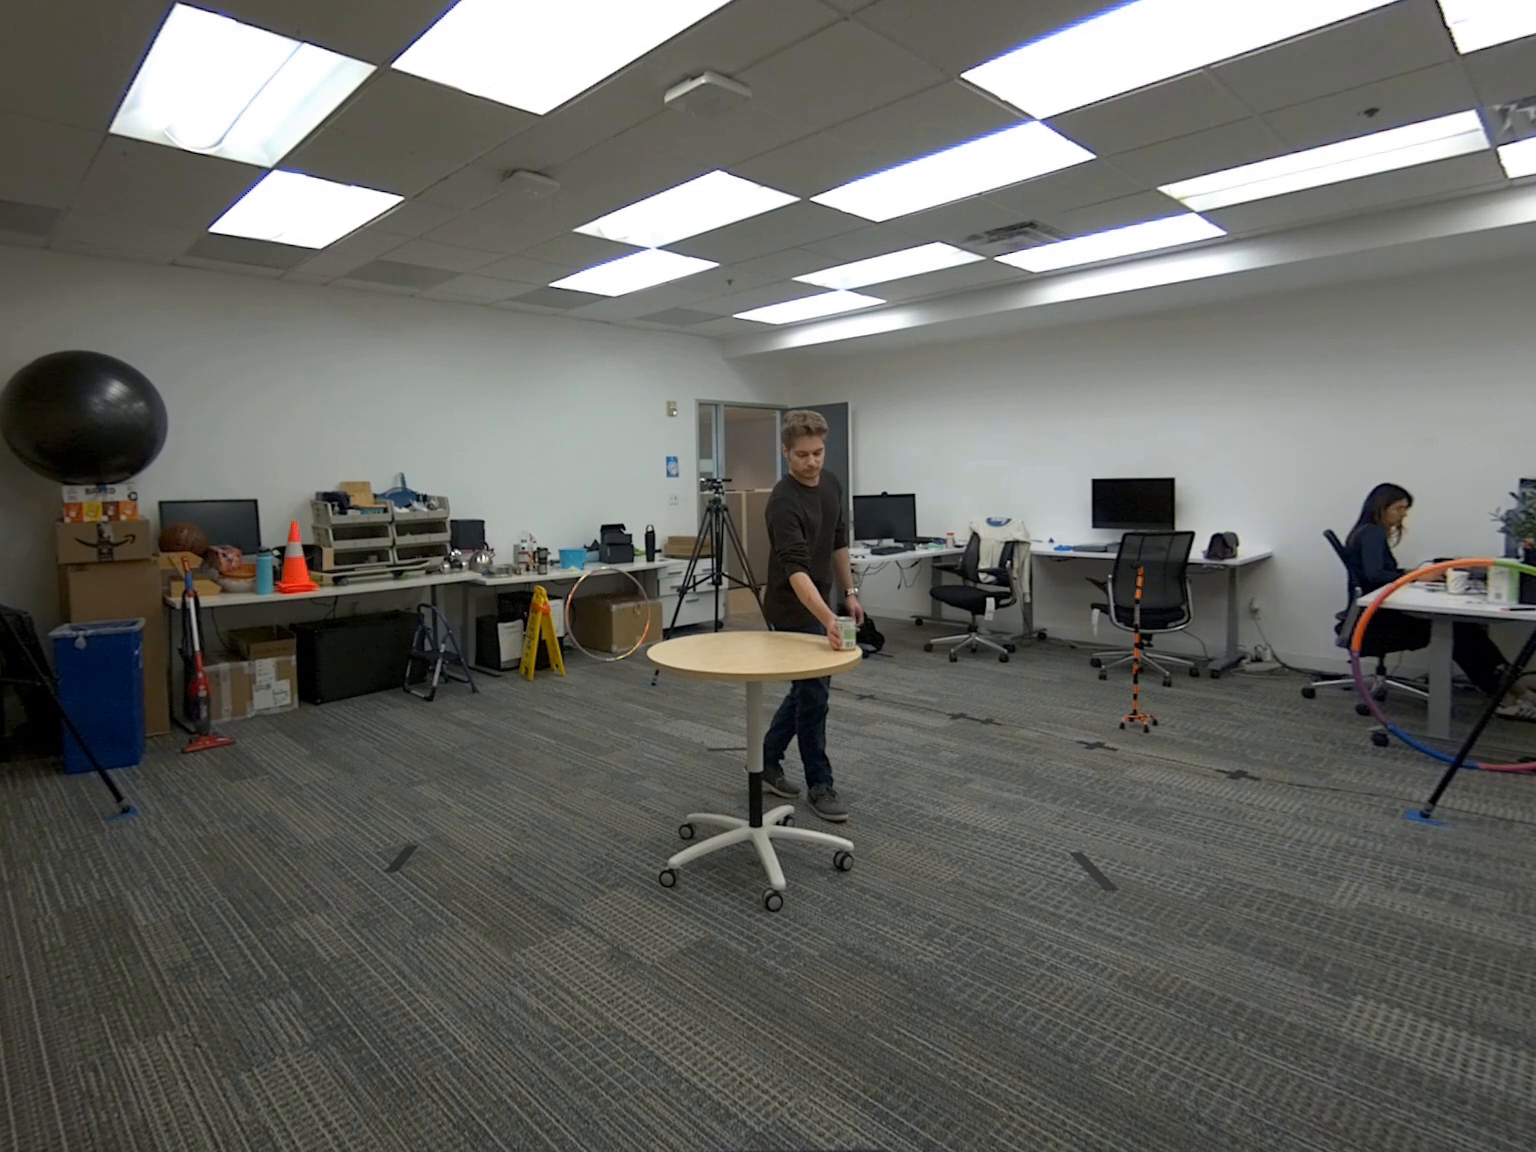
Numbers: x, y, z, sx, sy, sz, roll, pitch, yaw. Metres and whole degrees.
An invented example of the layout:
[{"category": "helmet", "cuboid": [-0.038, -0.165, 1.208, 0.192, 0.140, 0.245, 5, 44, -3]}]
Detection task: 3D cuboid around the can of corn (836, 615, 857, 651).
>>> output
[{"category": "can of corn", "cuboid": [0.272, 0.208, 3.040, 0.074, 0.110, 0.074, -1, 6, -2]}]
